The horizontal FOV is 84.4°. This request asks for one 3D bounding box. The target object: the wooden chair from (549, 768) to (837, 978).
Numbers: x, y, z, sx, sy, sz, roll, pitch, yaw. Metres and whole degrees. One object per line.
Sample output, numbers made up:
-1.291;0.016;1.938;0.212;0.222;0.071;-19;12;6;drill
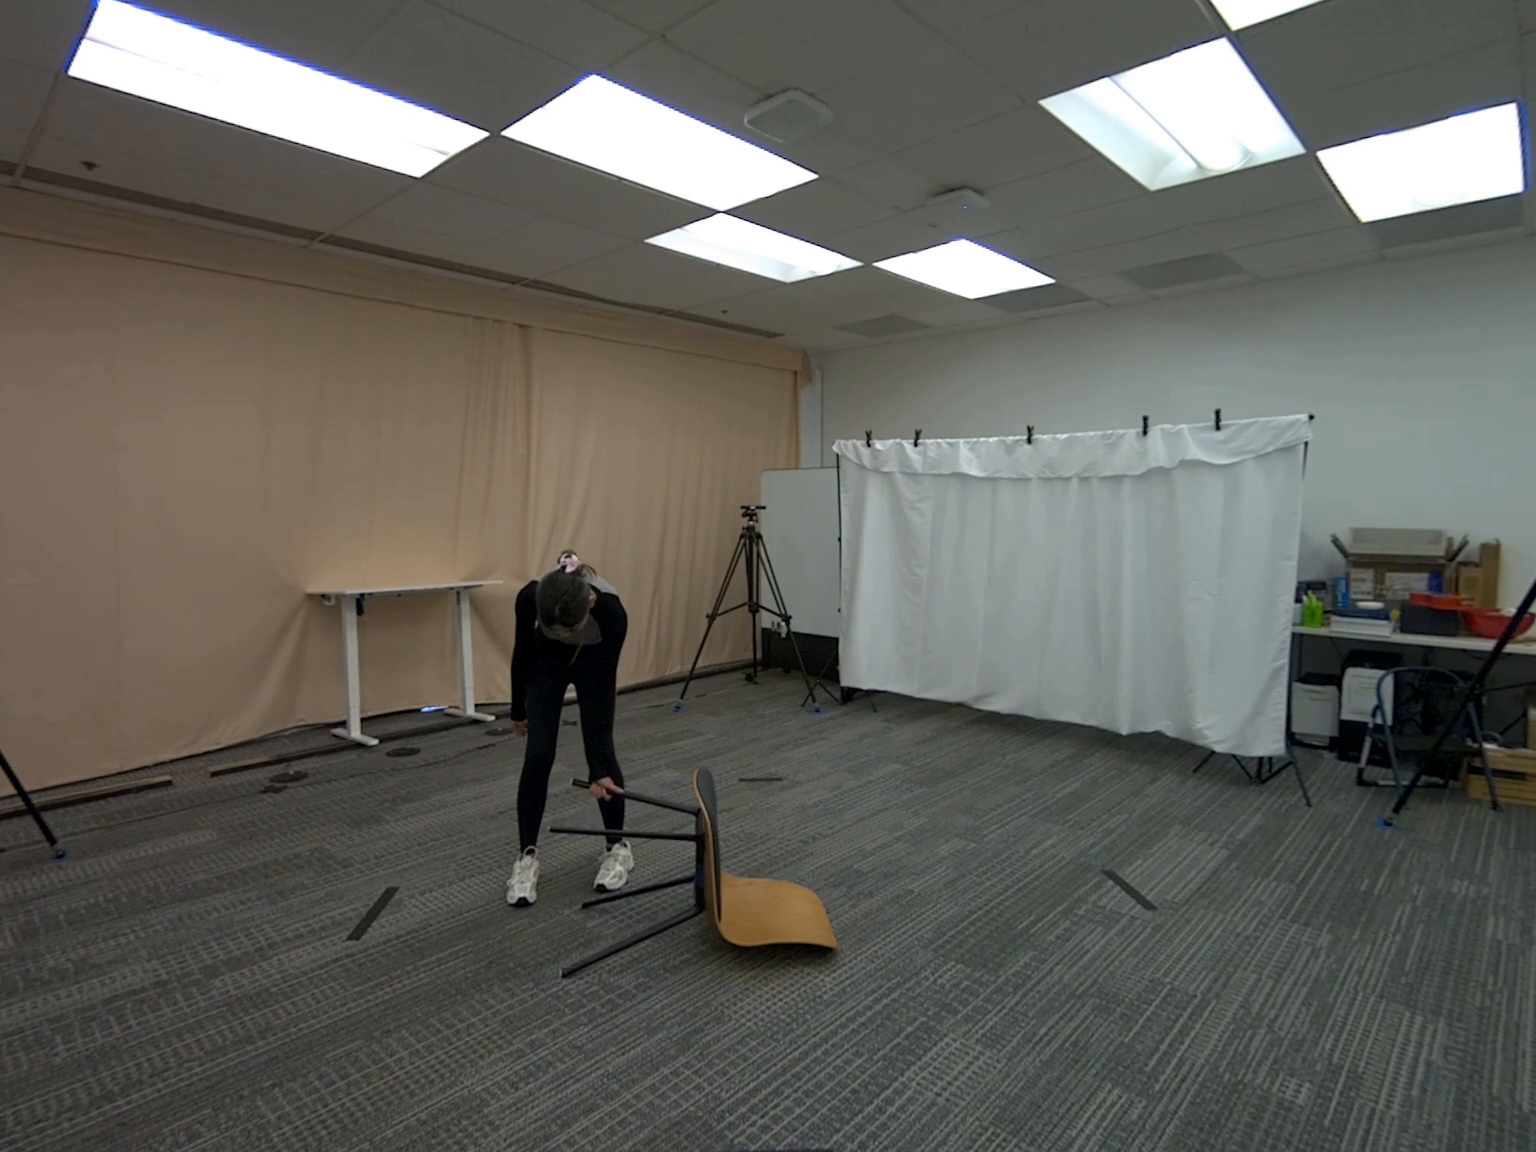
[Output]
-0.214;0.909;2.700;0.876;0.522;0.480;1;4;-1;wooden chair
